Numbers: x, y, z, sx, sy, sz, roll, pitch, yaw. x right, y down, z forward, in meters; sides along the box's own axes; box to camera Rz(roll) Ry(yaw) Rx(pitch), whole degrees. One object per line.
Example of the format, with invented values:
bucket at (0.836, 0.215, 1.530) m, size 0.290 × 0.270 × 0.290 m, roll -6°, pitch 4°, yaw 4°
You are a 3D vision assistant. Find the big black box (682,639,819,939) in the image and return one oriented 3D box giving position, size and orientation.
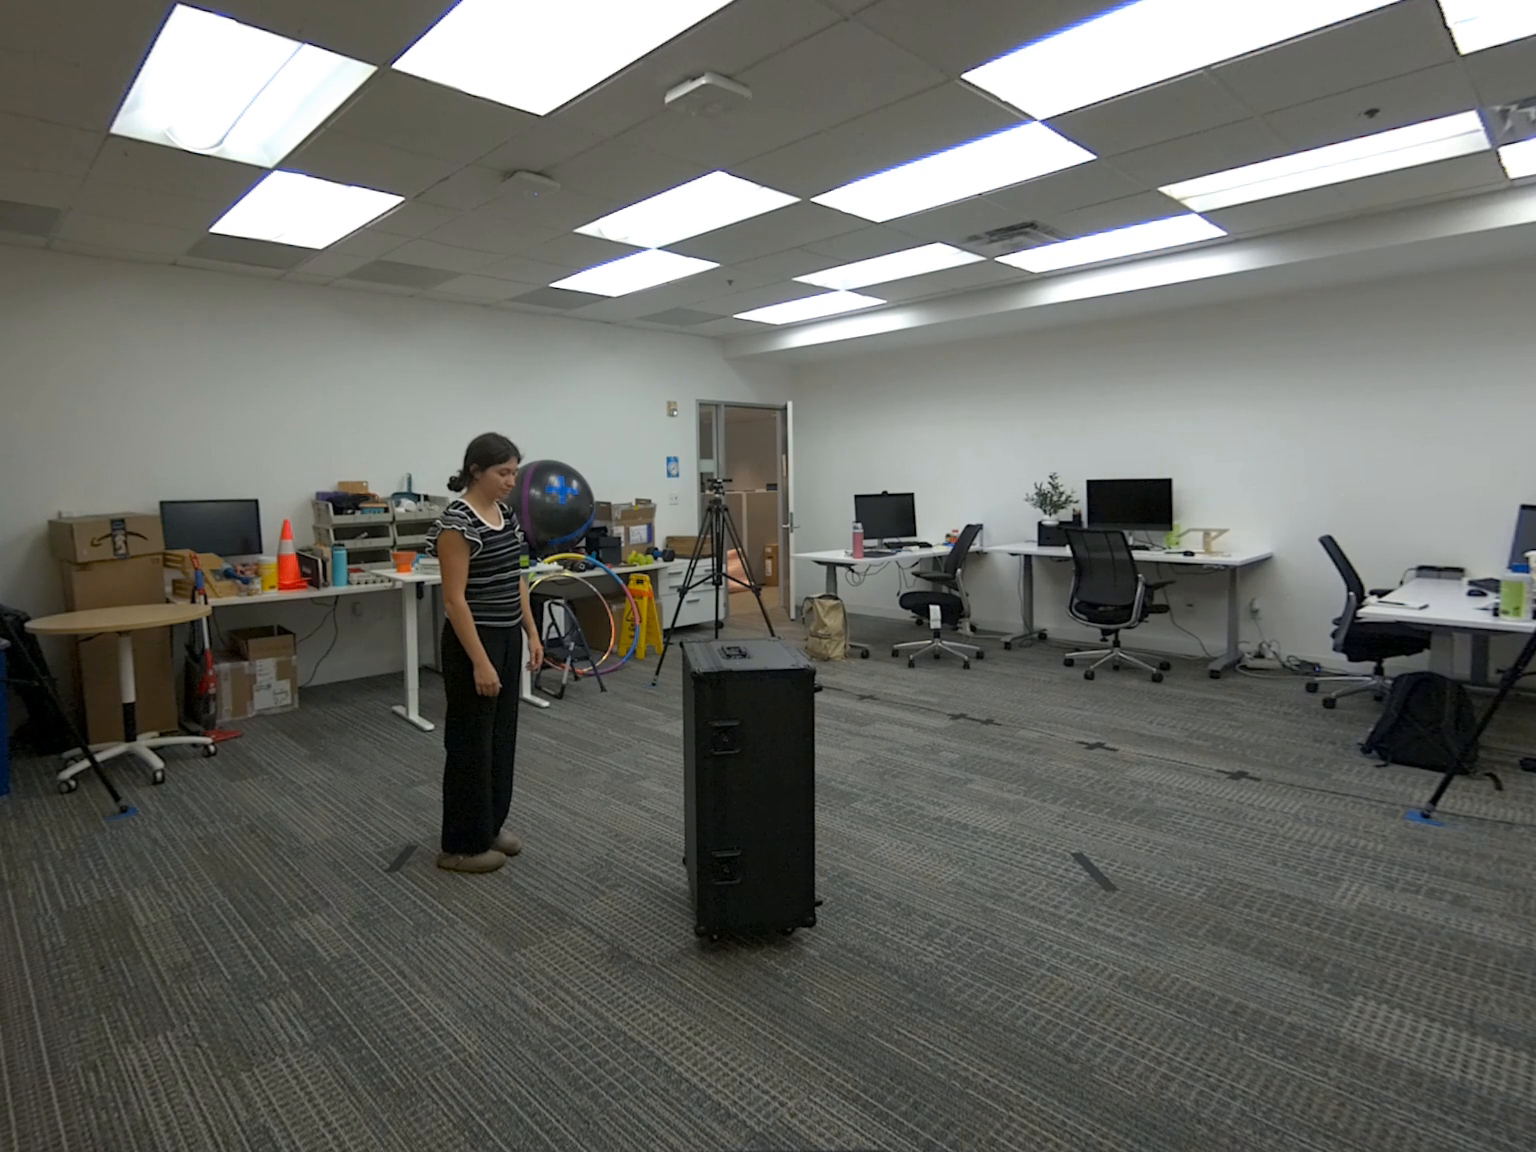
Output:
big black box at (-0.062, 0.665, 2.717) m, size 0.394 × 0.858 × 0.527 m, roll 0°, pitch 4°, yaw -7°
